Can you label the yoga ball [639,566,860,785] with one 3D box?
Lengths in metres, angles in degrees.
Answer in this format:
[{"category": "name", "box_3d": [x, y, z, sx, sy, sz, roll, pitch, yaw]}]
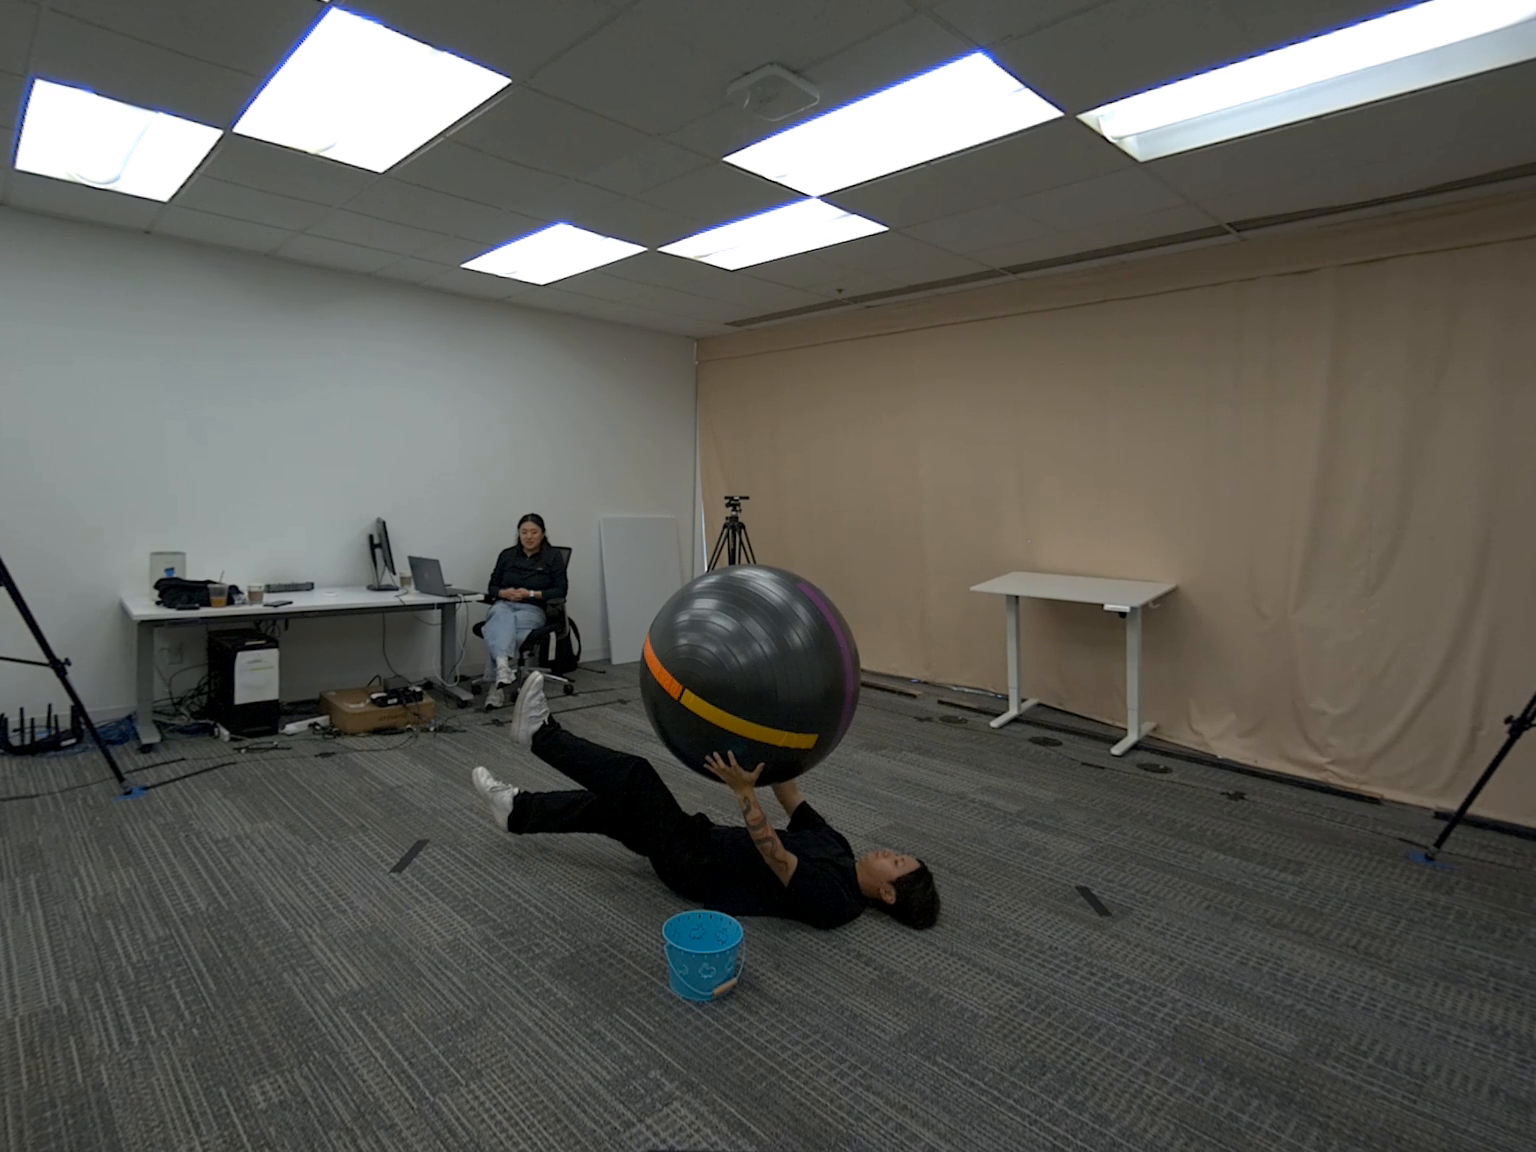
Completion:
[{"category": "yoga ball", "box_3d": [-0.060, 0.346, 2.915, 0.757, 0.756, 0.761, 1, 4, -1]}]
